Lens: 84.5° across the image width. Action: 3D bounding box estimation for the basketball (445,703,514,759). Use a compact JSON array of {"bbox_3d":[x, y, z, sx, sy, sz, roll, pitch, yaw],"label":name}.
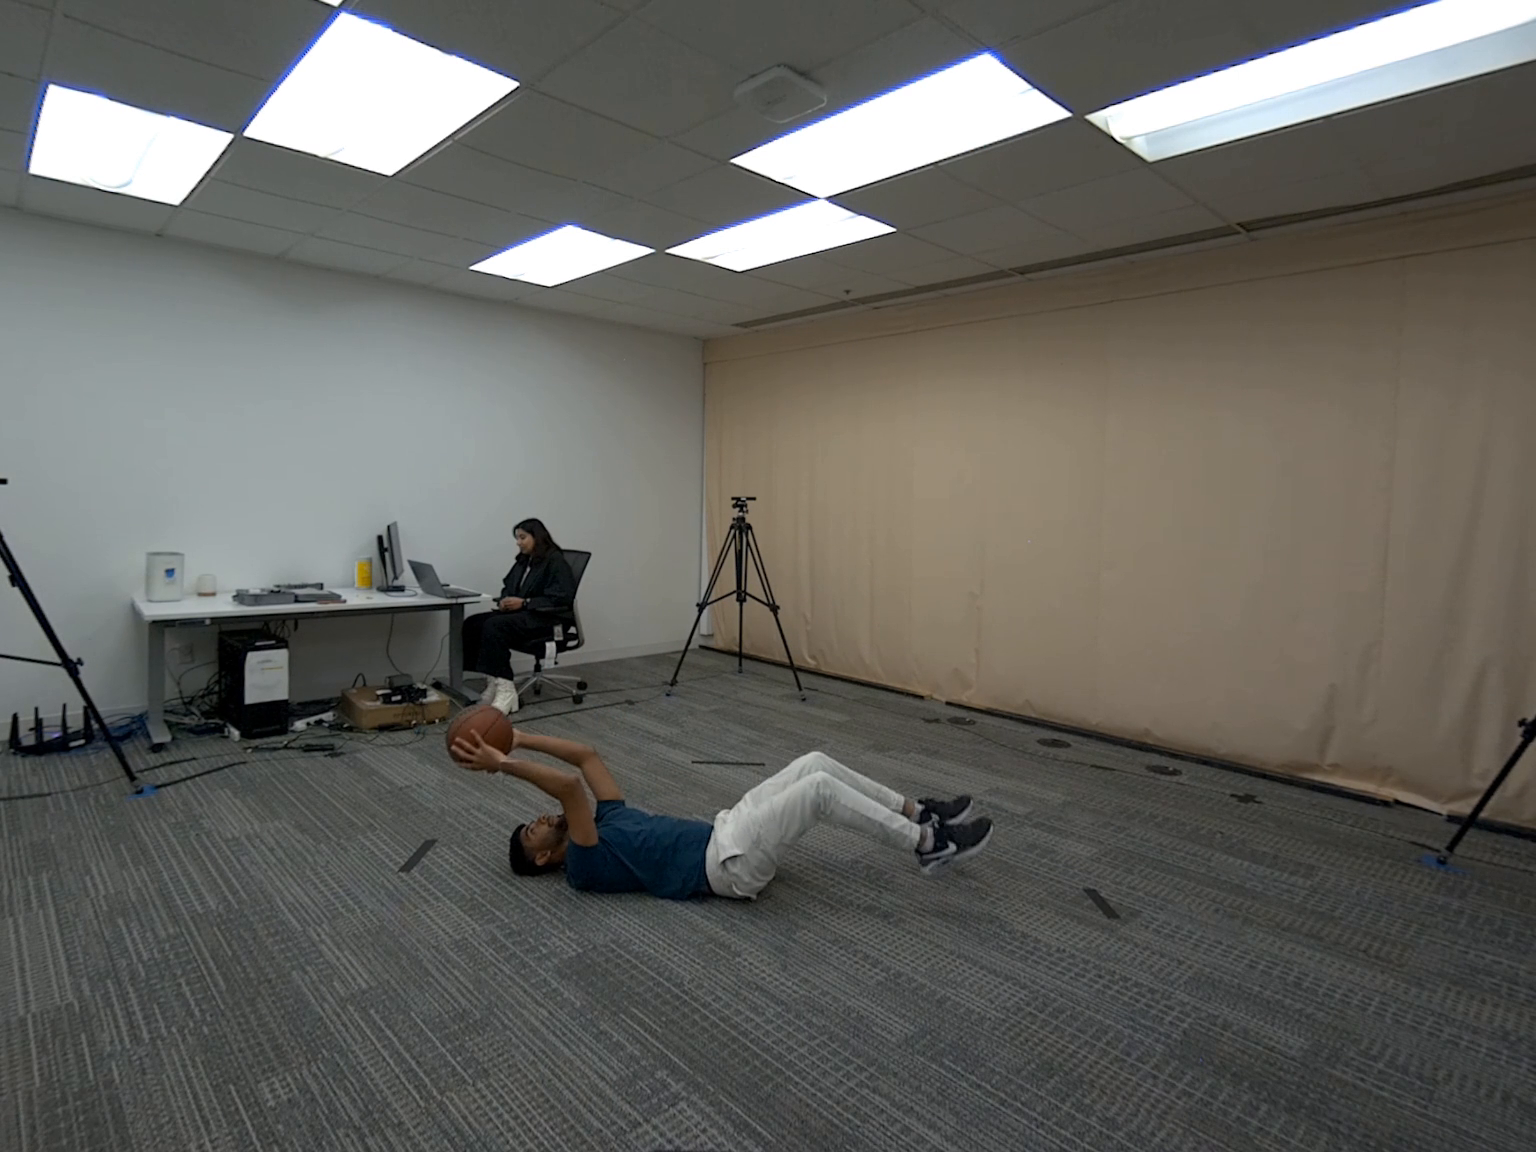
[{"bbox_3d":[-1.050,0.587,3.076,0.236,0.235,0.237,1,4,-1],"label":"basketball"}]
